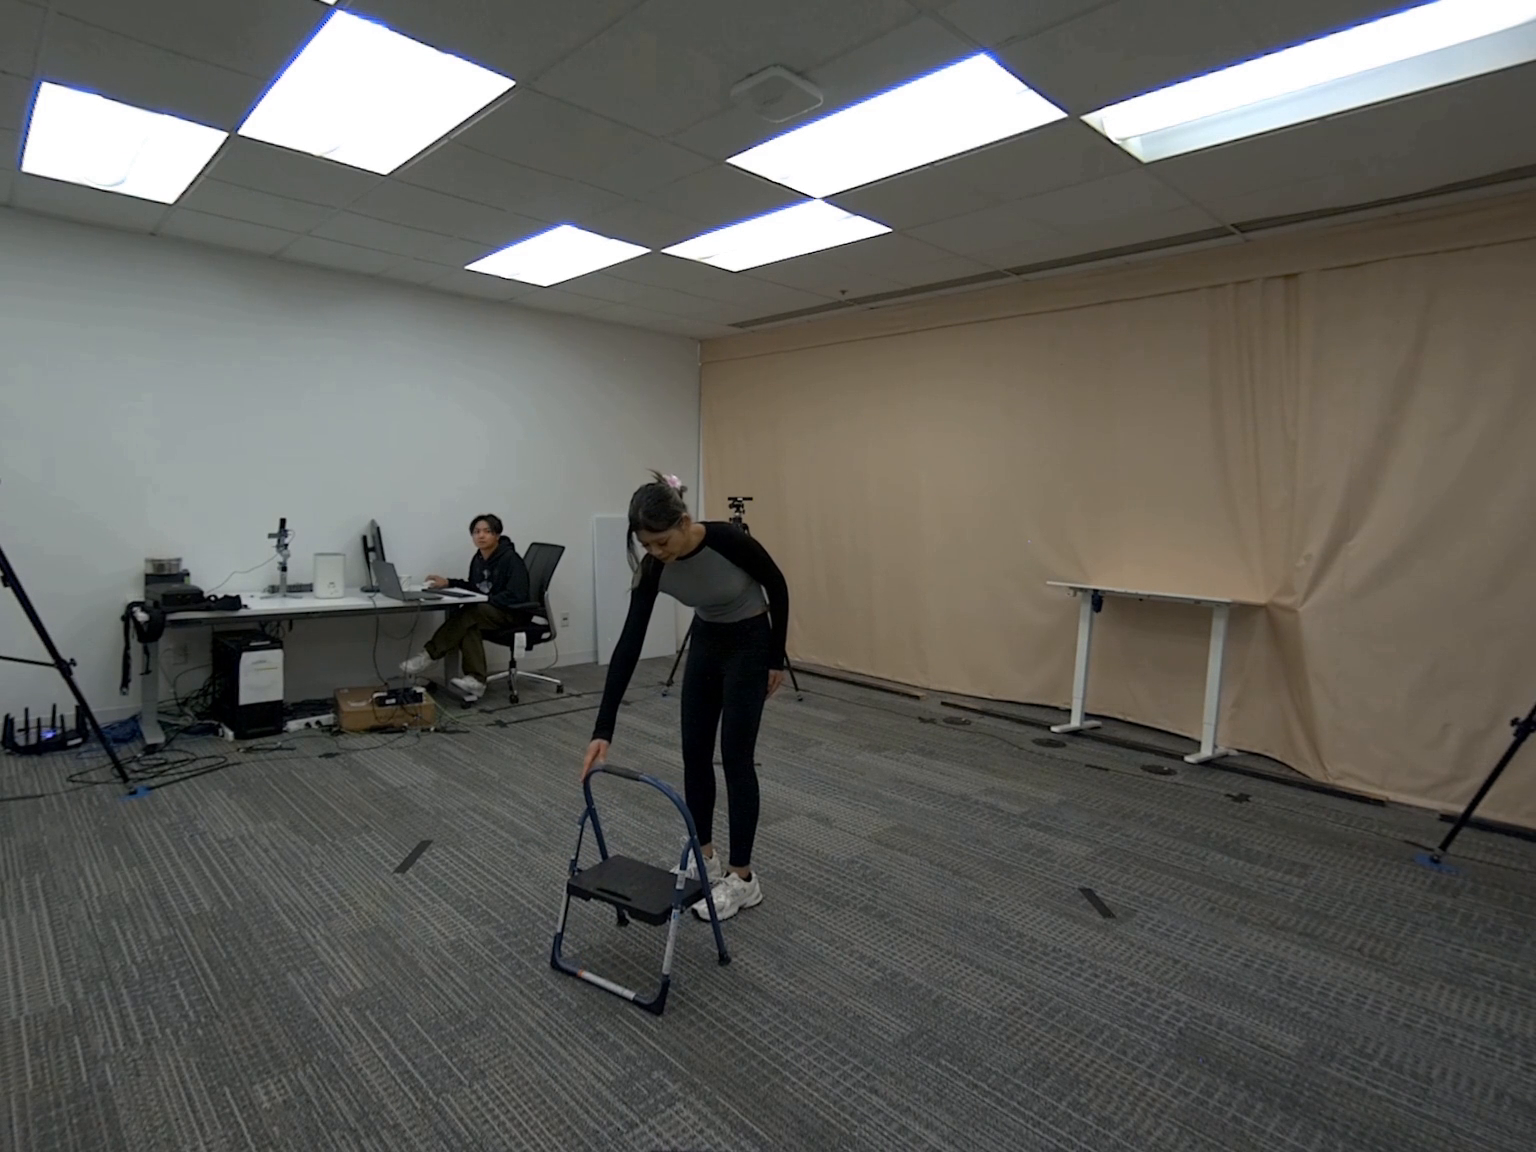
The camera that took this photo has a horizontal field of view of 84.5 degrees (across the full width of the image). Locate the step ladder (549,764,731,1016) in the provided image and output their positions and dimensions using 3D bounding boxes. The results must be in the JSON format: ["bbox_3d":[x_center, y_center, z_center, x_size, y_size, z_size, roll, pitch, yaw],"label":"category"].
[{"bbox_3d":[-0.382,0.856,2.487,0.440,0.604,0.342,3,4,32],"label":"step ladder"}]
